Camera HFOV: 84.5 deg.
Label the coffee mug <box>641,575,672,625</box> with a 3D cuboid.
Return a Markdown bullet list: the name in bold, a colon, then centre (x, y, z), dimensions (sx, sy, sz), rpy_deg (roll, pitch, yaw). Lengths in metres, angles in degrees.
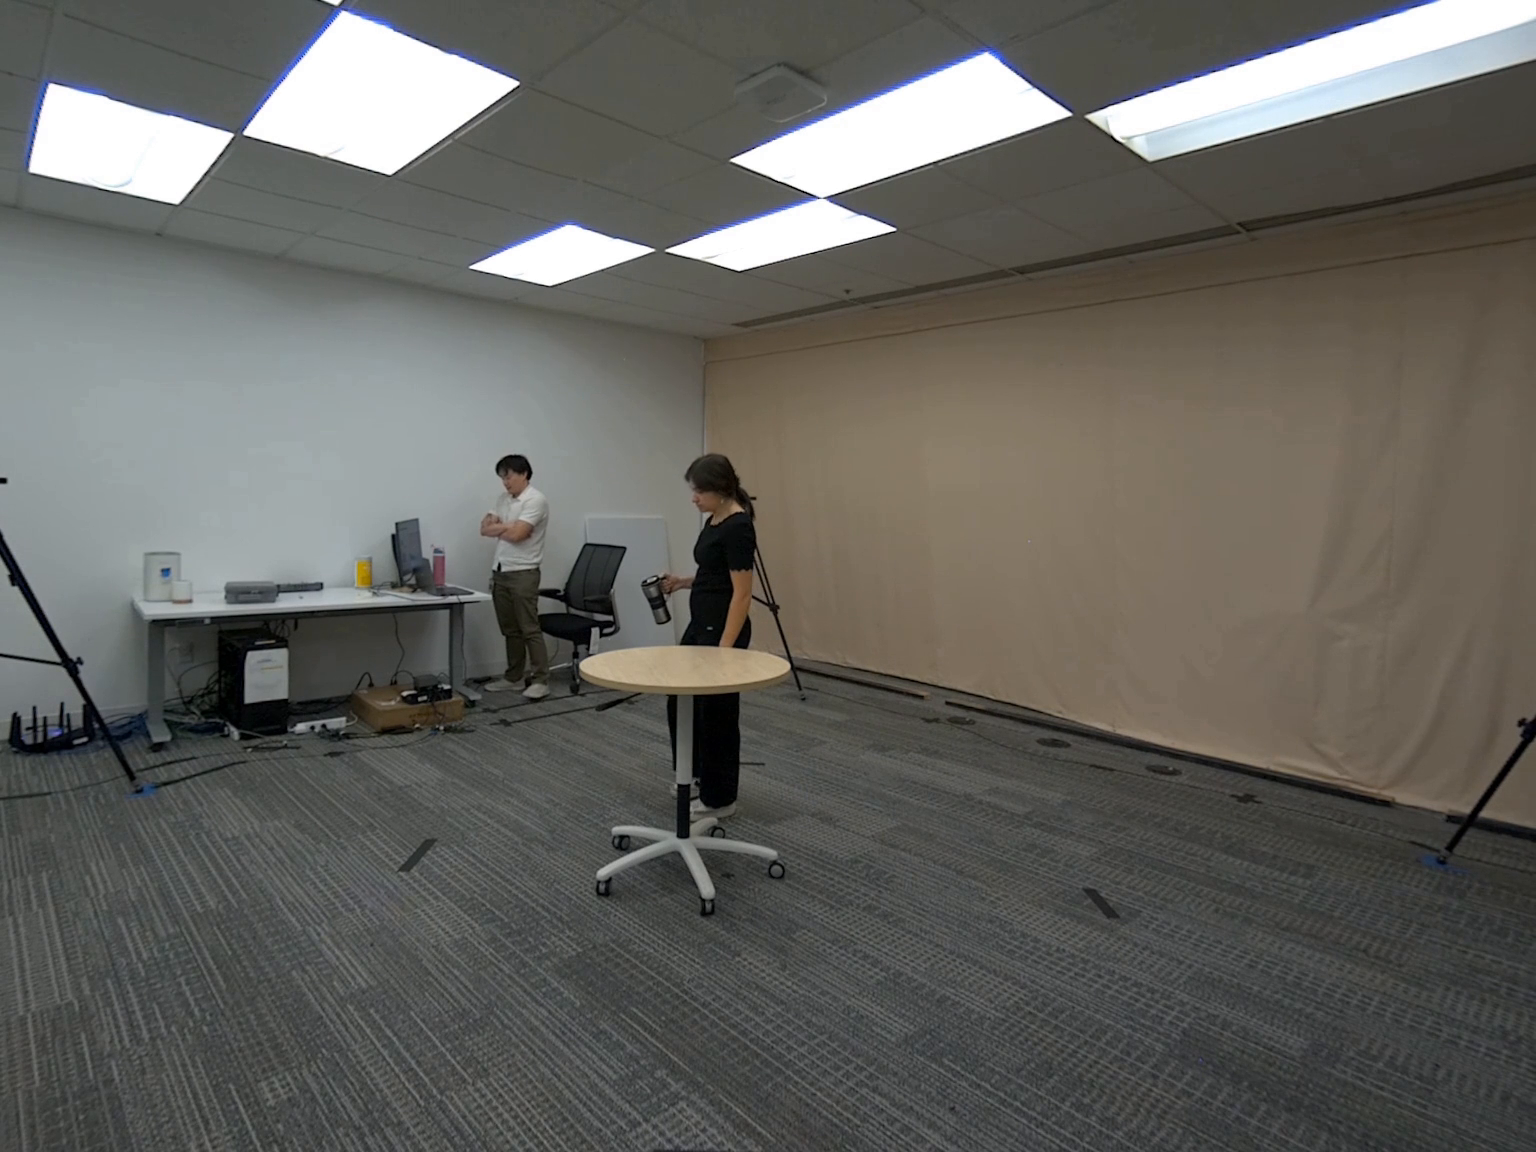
- **coffee mug**: centre (-0.476, 0.104, 3.649), dimensions (0.124, 0.201, 0.087), rpy_deg (-6, 15, 44)
